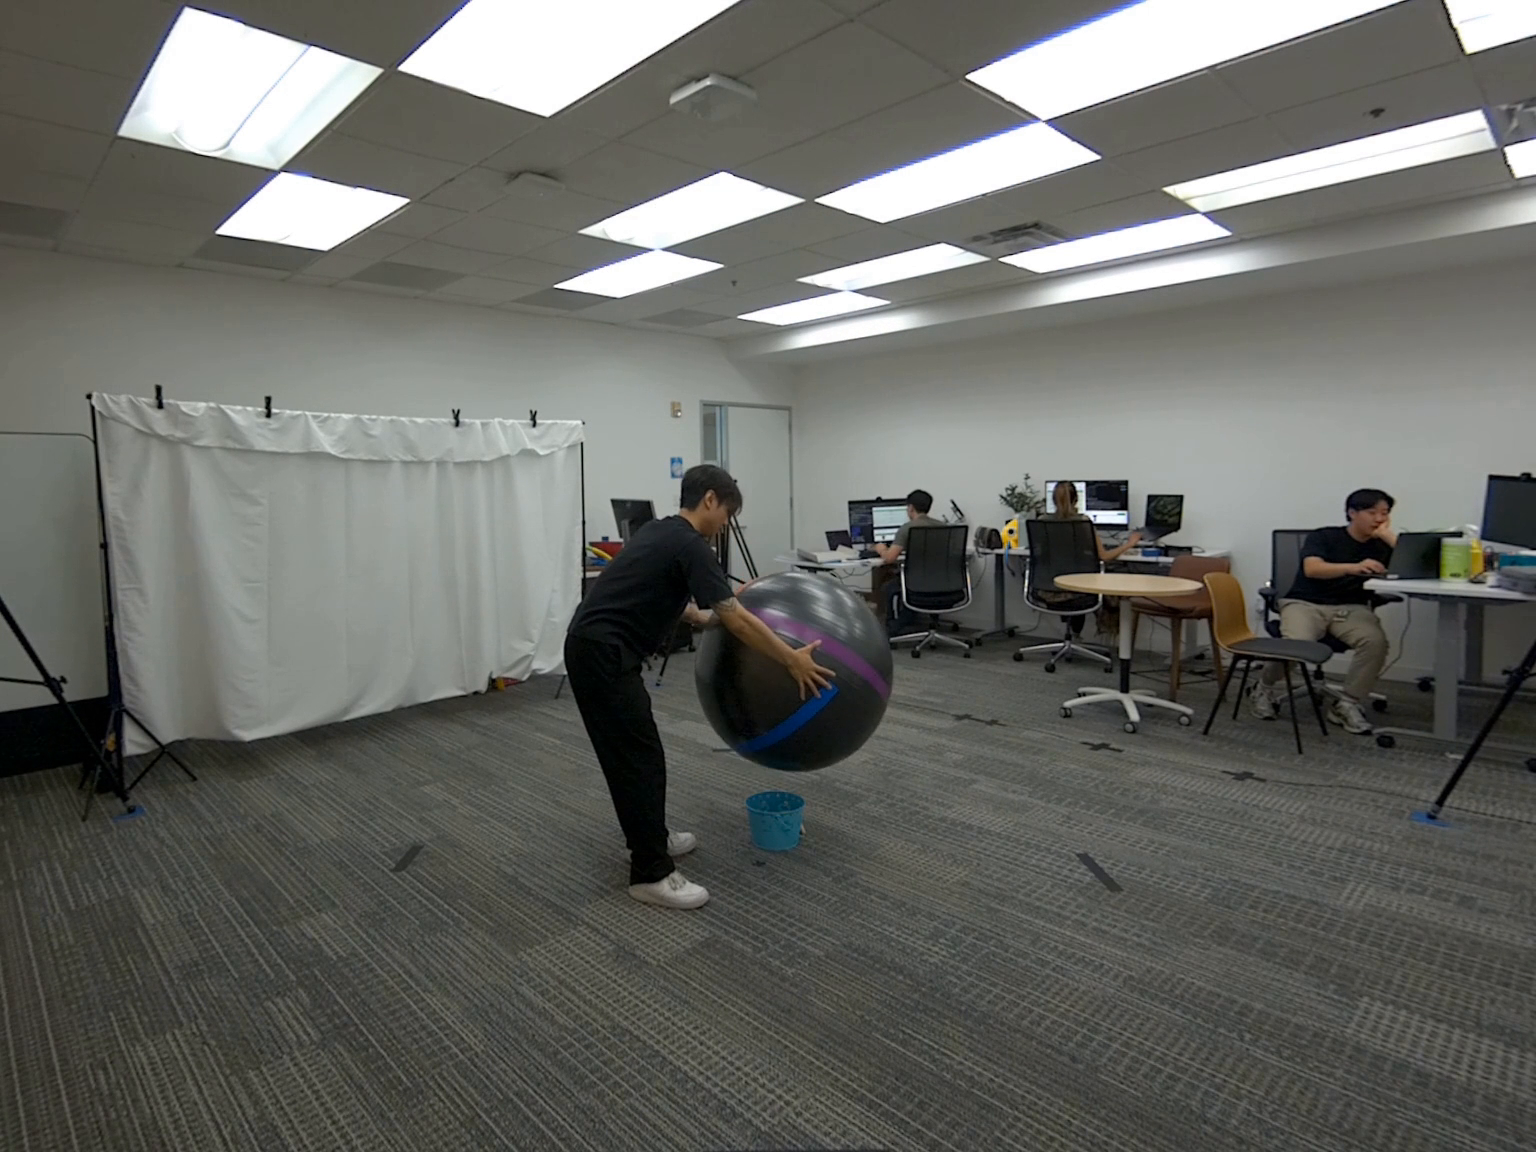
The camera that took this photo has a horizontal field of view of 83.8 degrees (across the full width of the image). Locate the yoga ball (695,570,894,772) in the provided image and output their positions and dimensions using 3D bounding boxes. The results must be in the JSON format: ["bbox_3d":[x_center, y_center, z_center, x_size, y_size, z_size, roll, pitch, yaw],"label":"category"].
[{"bbox_3d":[0.102,0.361,3.314,0.757,0.755,0.762,-1,5,-2],"label":"yoga ball"}]
